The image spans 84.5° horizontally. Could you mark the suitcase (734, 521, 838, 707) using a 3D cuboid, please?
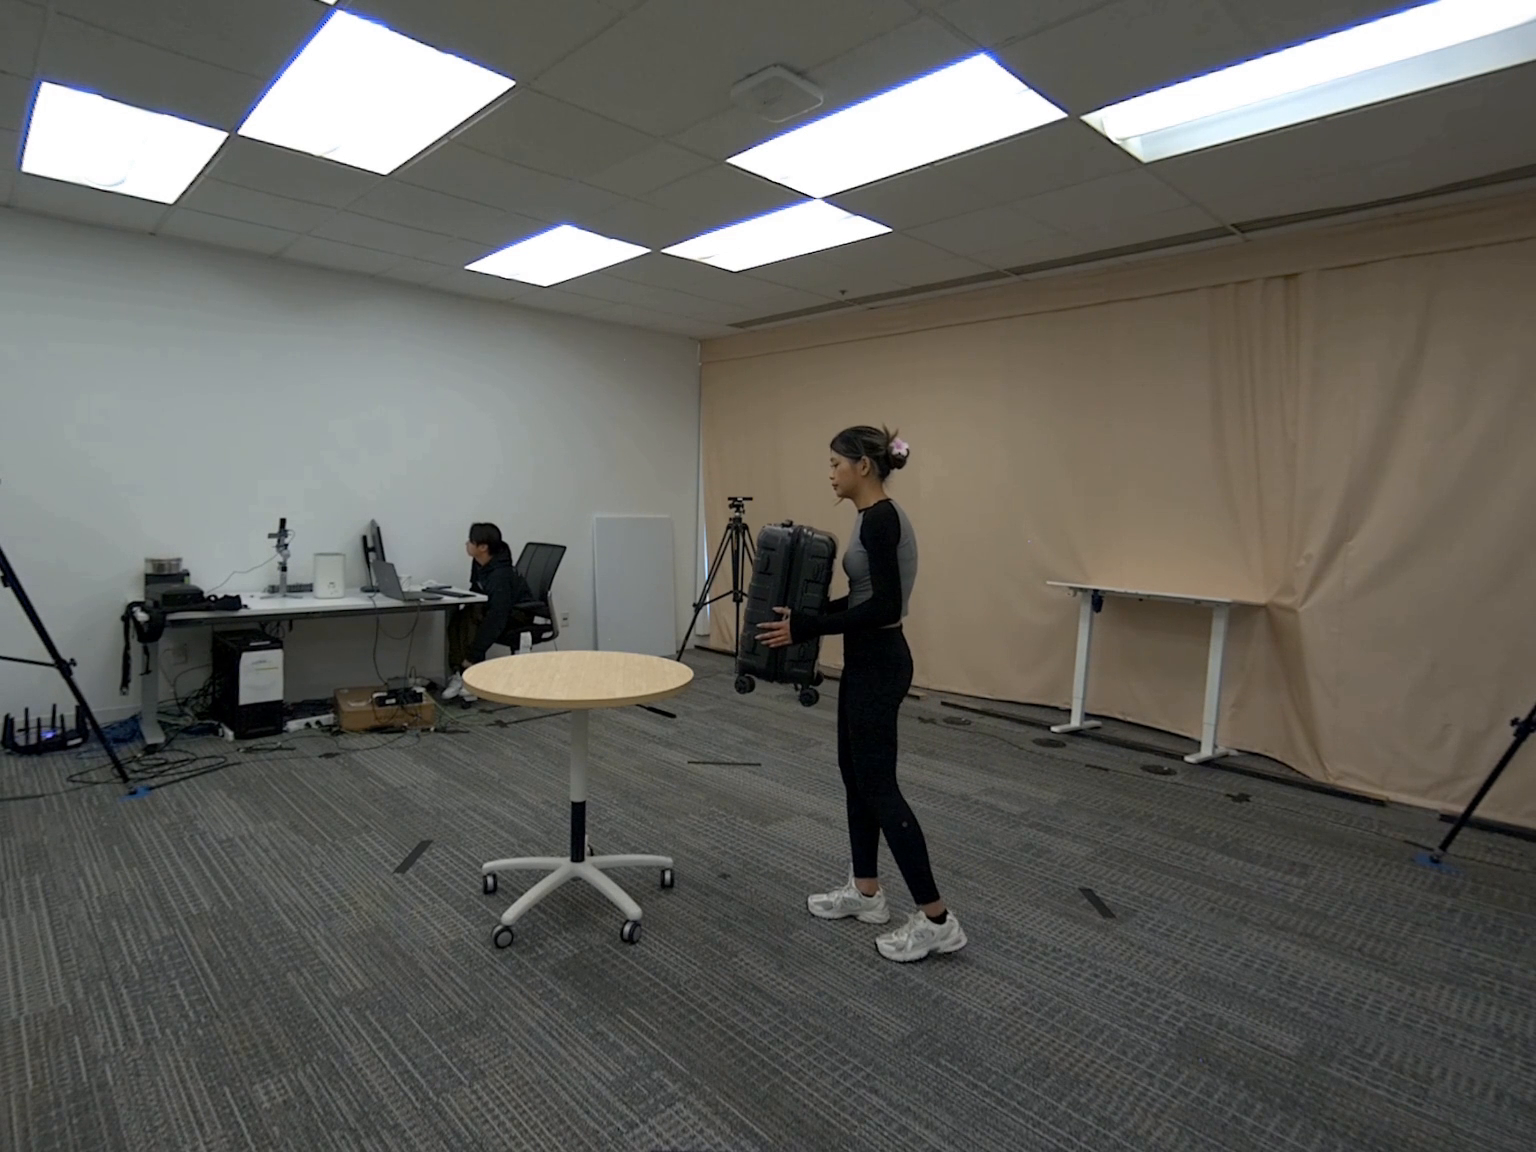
[{"bbox_3d":[0.066,0.096,2.770,0.250,0.548,0.373,8,3,9],"label":"suitcase"}]
